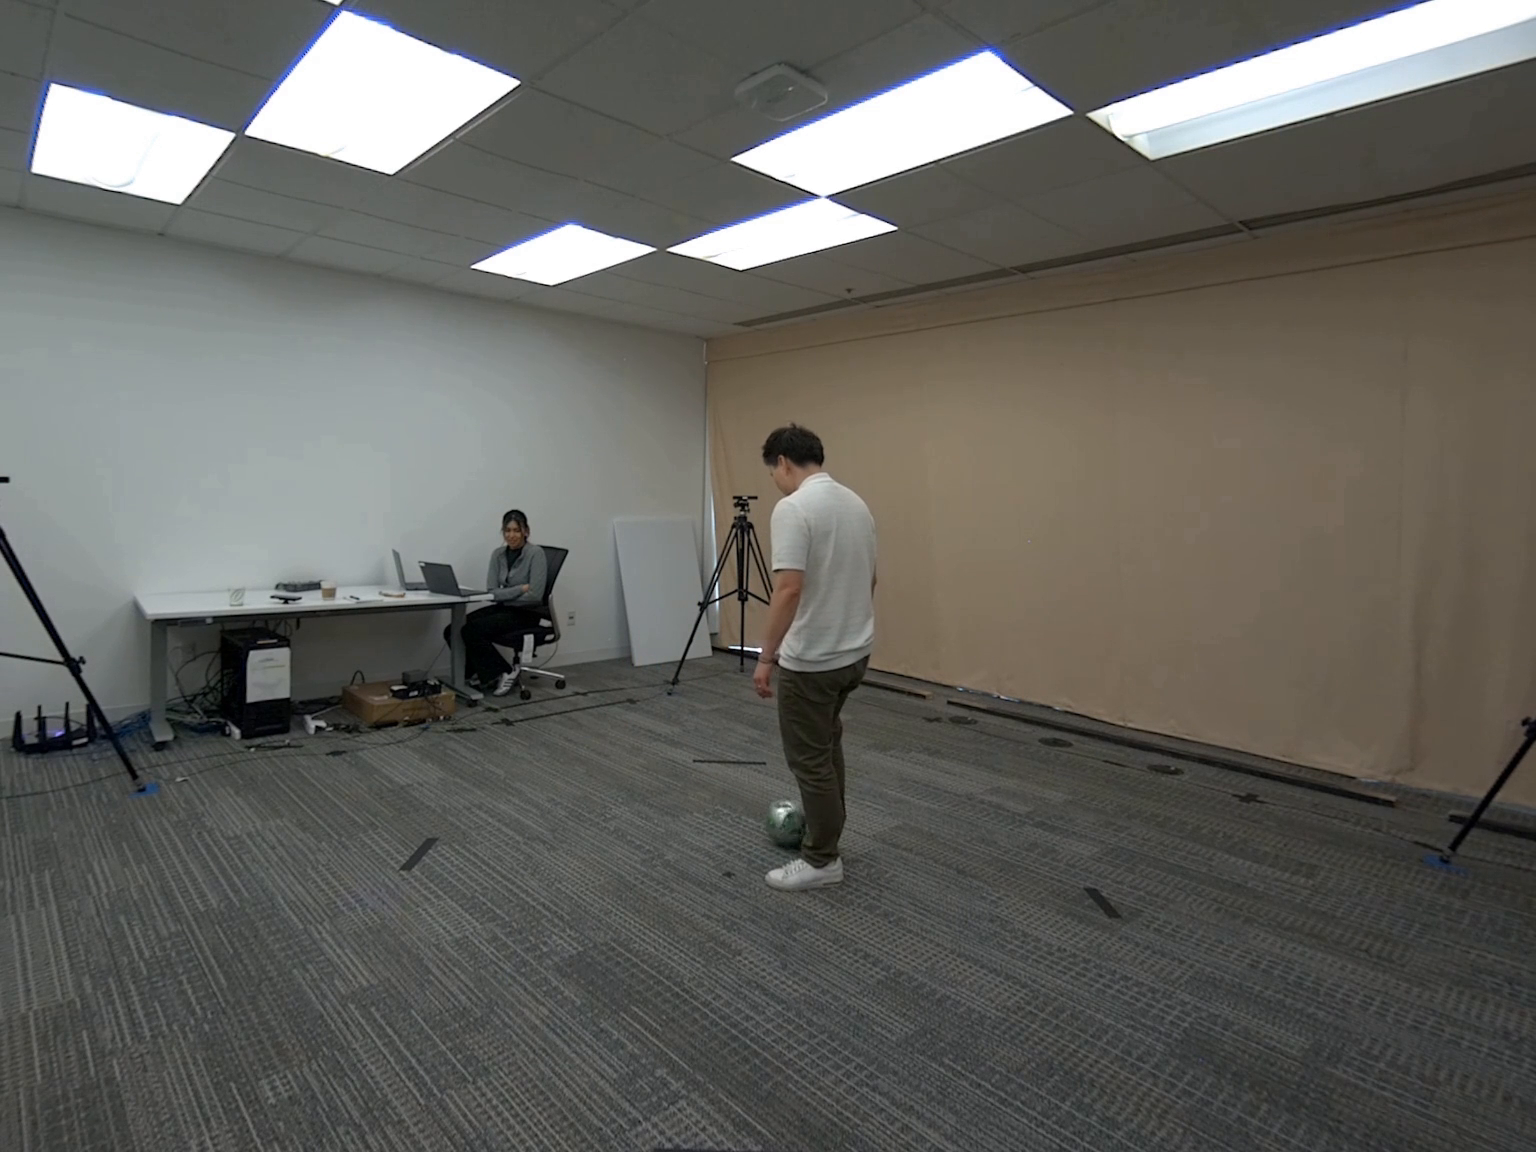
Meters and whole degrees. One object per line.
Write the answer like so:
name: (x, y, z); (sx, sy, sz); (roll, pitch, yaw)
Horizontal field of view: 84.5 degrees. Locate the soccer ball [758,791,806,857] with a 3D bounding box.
soccer ball: (0.058, 0.987, 3.386); (0.187, 0.187, 0.188); (1, 4, -1)
